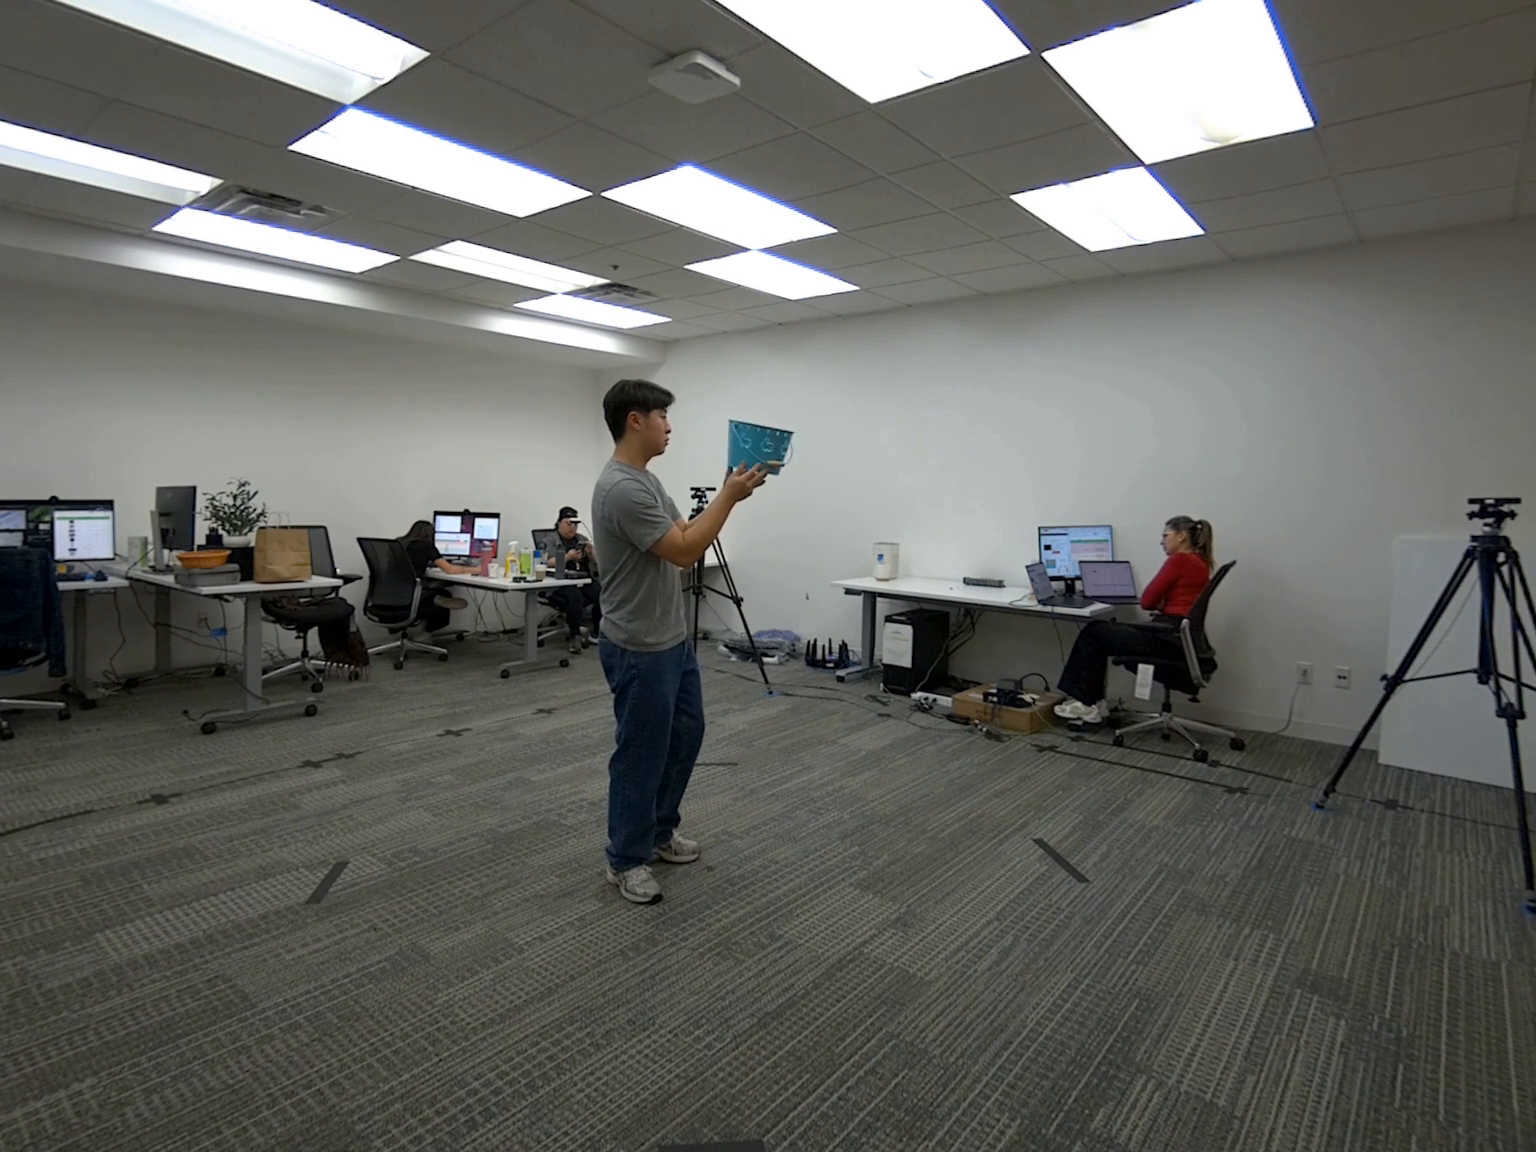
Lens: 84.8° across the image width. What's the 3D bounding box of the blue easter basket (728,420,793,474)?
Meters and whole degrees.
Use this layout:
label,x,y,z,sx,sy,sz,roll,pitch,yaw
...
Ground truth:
label,x,y,z,sx,sy,sz,roll,pitch,yaw
blue easter basket,-0.048,-0.431,2.859,0.243,0.155,0.246,9,9,-3
